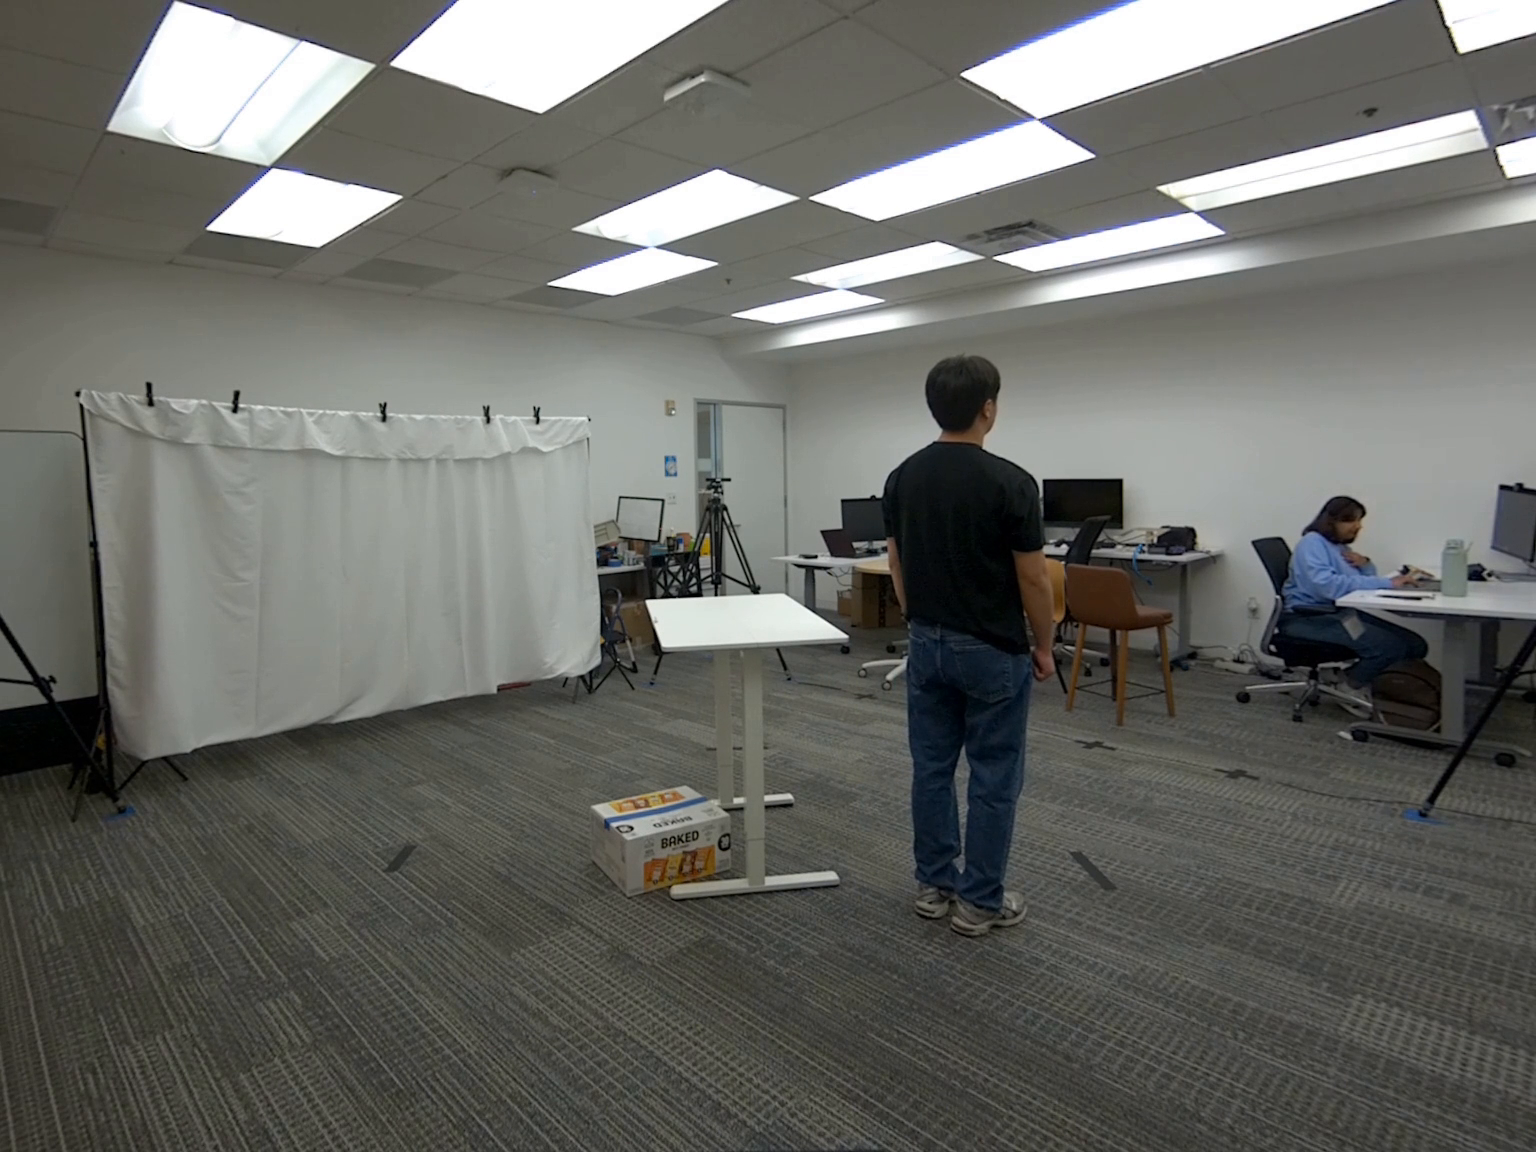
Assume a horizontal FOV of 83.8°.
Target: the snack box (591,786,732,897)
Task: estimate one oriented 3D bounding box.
[{"bbox_3d":[-0.391,0.948,3.091,0.395,0.205,0.350,-4,7,-31],"label":"snack box"}]
